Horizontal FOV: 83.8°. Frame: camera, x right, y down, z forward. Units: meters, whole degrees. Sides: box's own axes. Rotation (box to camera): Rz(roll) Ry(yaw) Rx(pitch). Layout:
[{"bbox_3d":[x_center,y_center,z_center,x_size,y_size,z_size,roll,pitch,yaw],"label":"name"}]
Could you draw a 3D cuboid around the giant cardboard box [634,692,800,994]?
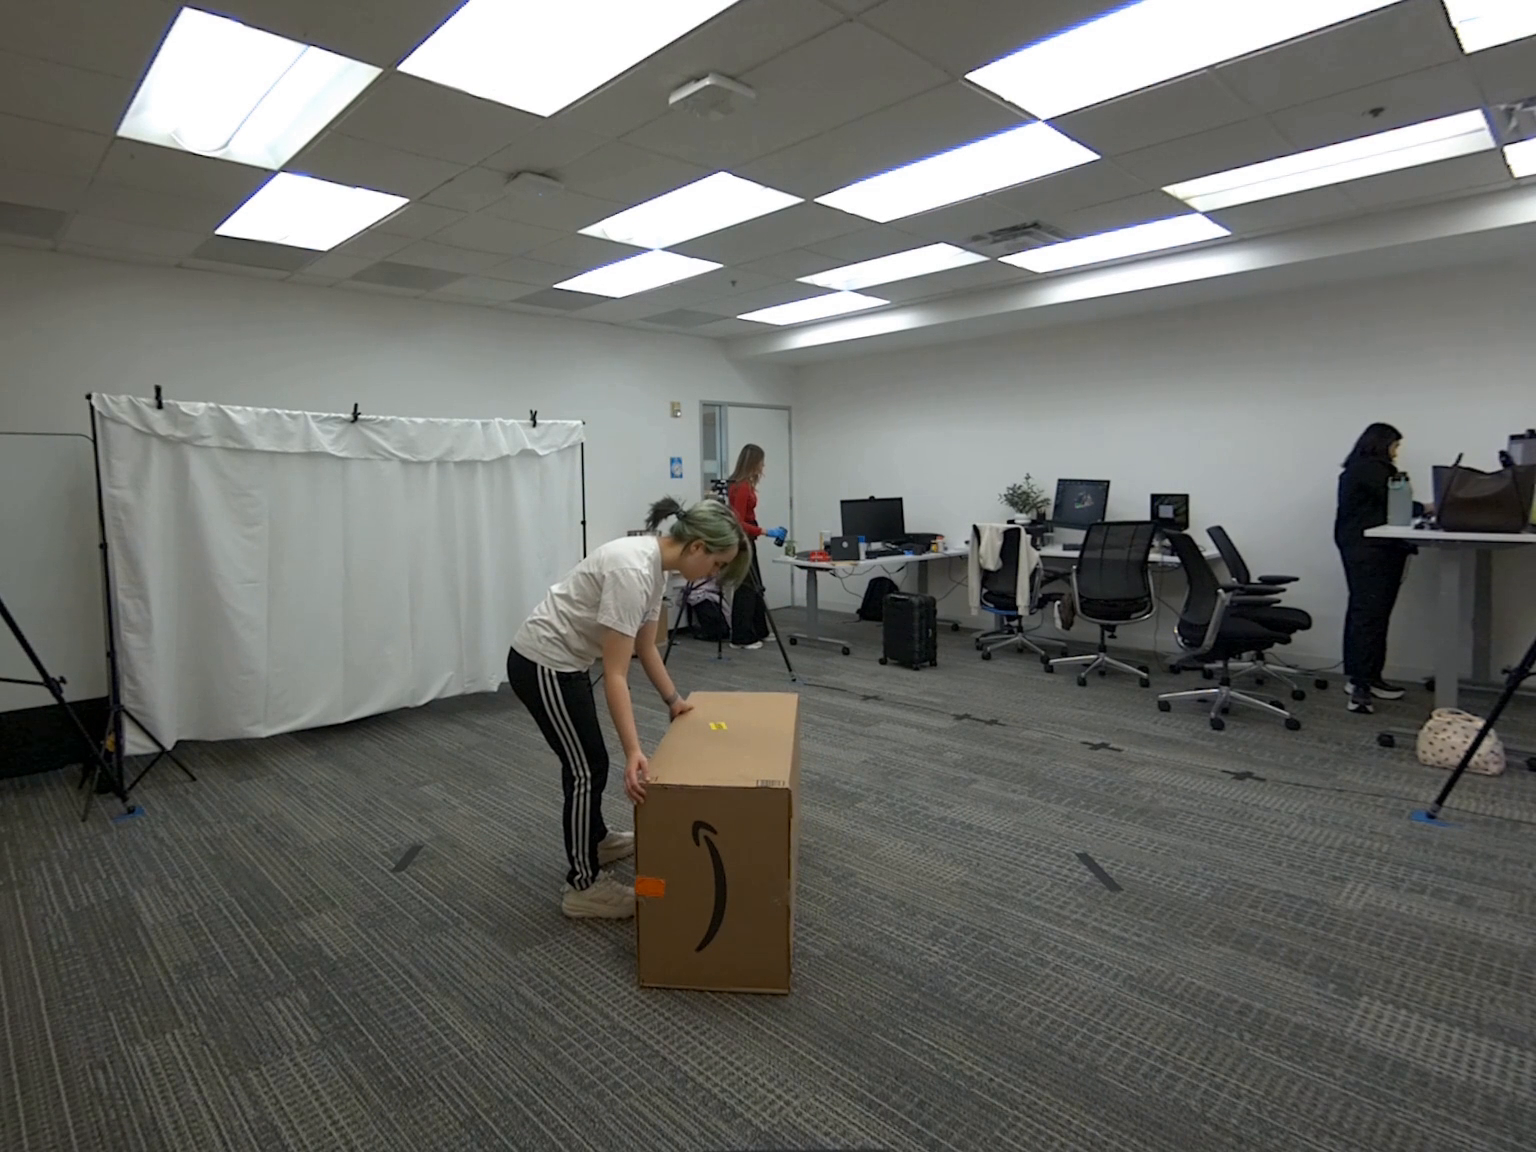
[{"bbox_3d":[-0.121,0.793,2.828,0.428,0.575,1.025,0,5,4],"label":"giant cardboard box"}]
